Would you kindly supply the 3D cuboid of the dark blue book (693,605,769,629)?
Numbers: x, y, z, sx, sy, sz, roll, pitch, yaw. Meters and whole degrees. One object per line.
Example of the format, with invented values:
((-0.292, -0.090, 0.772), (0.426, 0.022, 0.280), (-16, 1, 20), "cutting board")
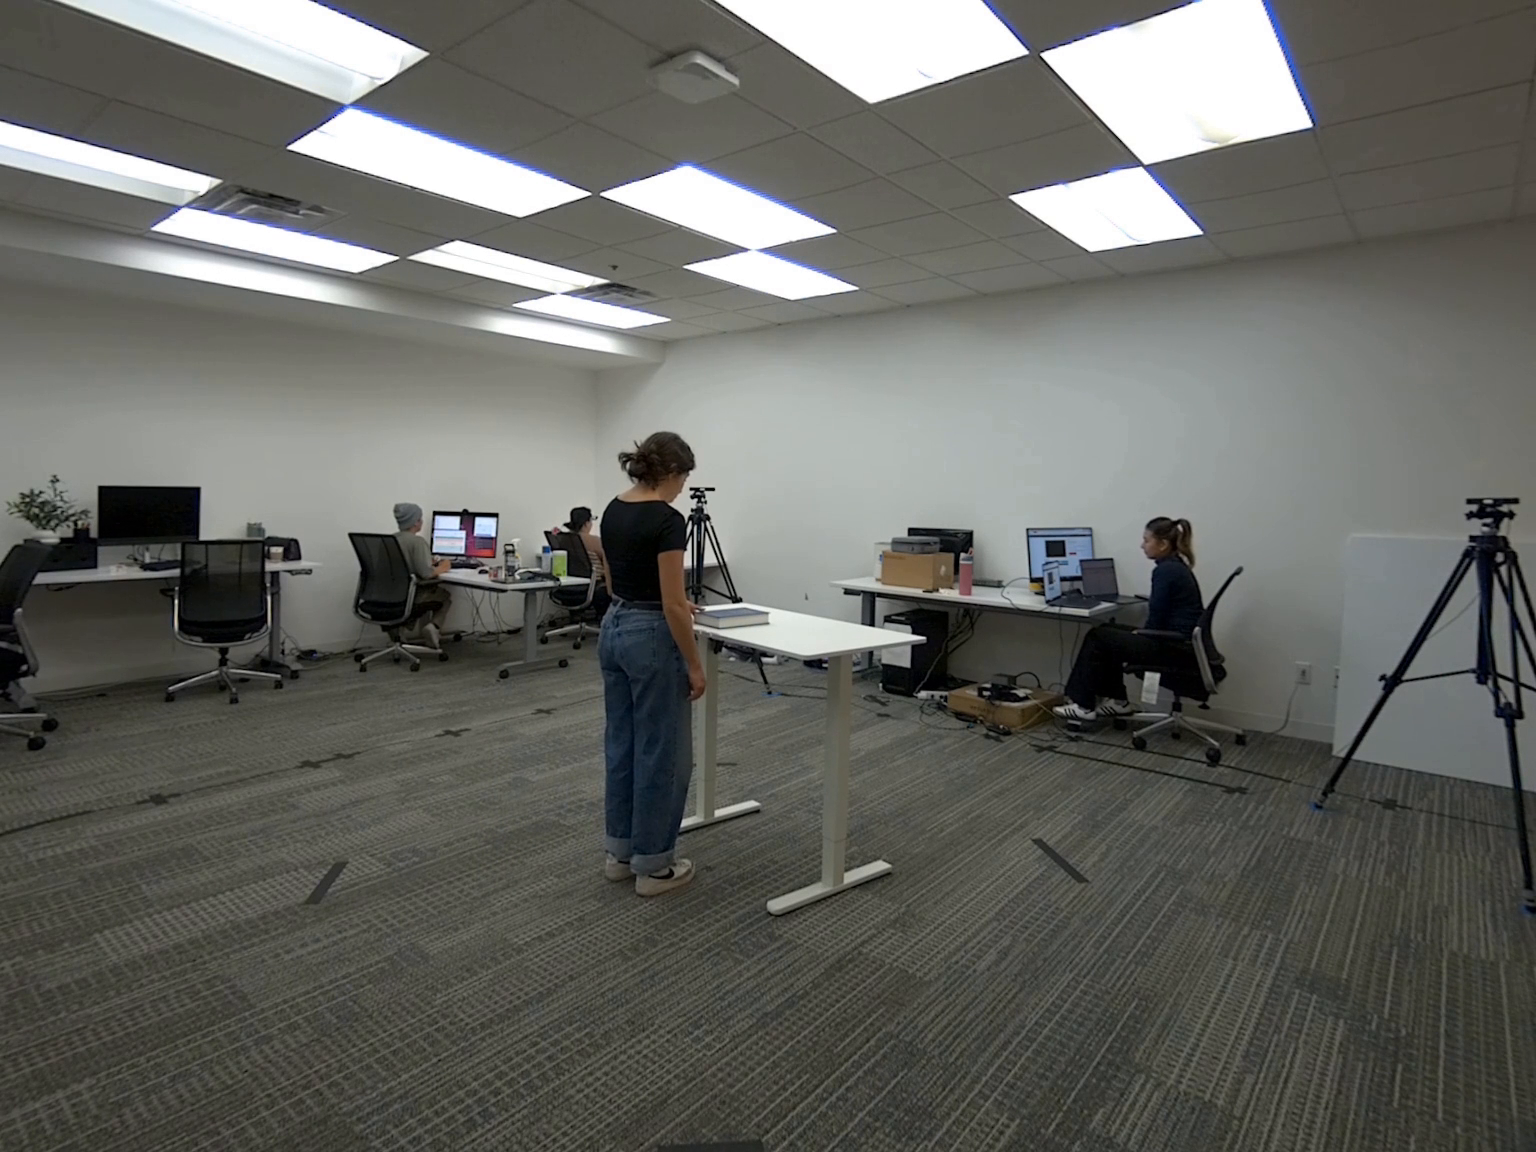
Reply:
((-0.147, 0.160, 3.185), (0.238, 0.045, 0.169), (-4, 7, -40), "dark blue book")
